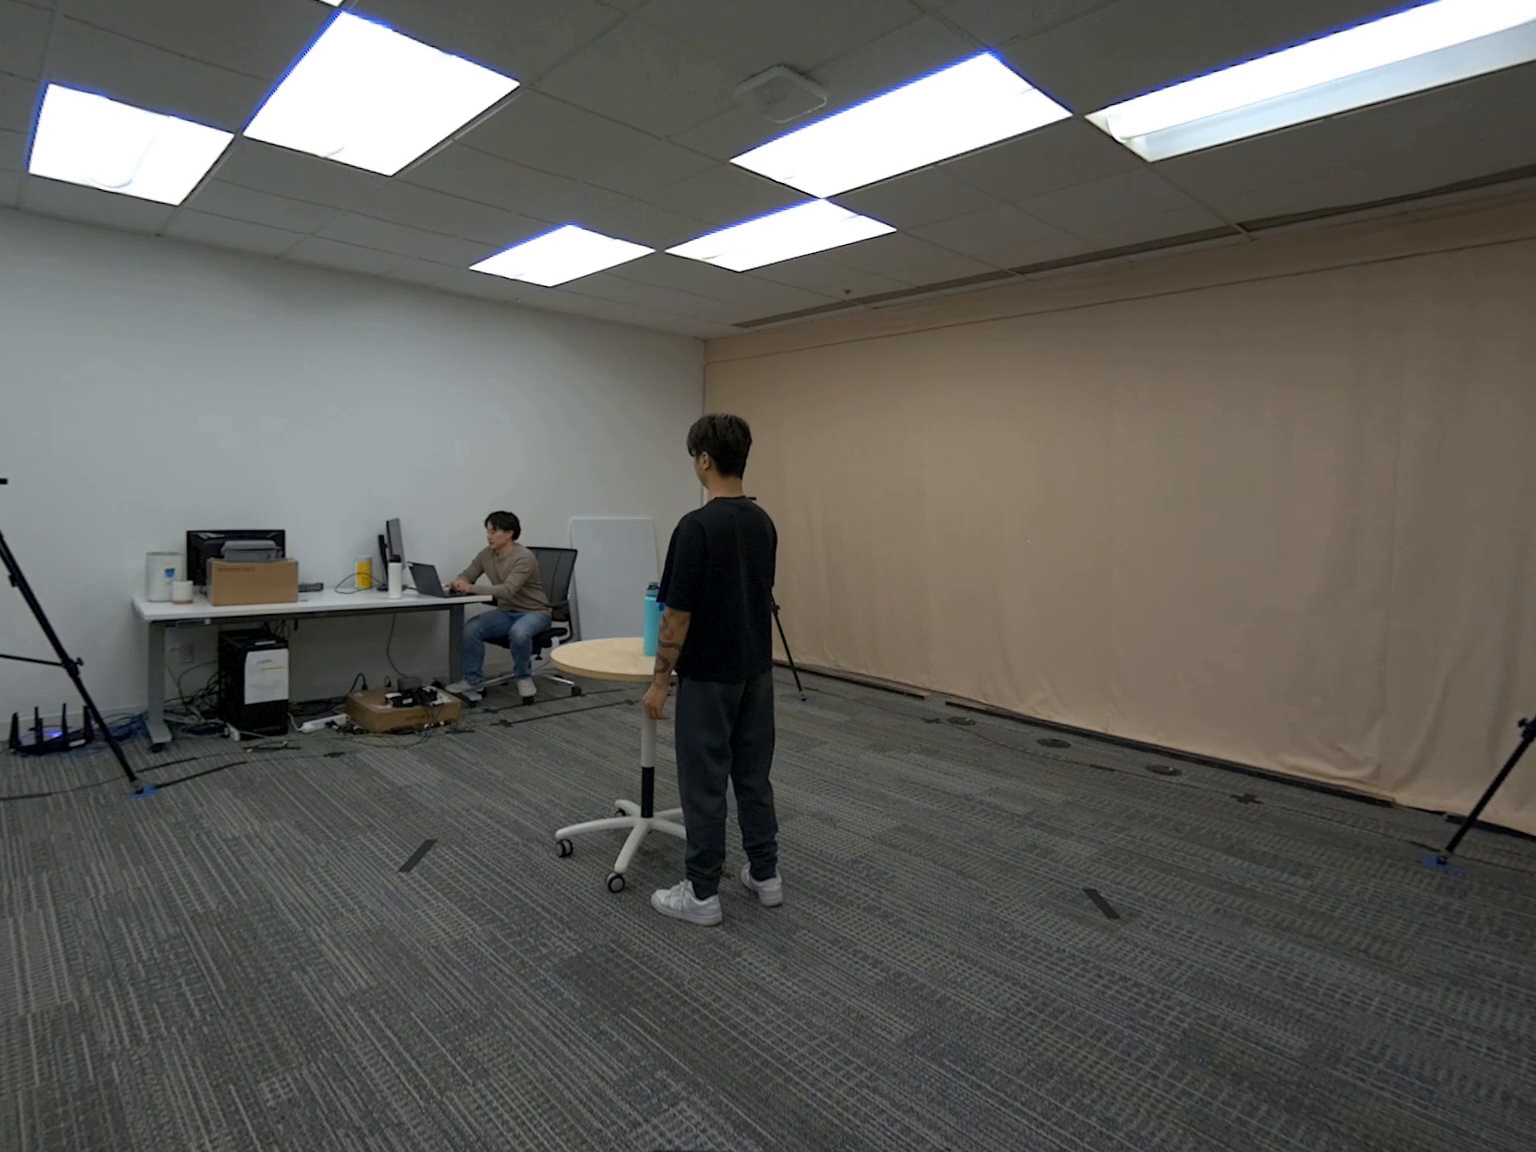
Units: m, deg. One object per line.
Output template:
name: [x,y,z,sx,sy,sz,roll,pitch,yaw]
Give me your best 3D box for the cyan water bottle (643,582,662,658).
cyan water bottle: [-0.441,0.166,3.256,0.092,0.282,0.092,4,4,-2]
